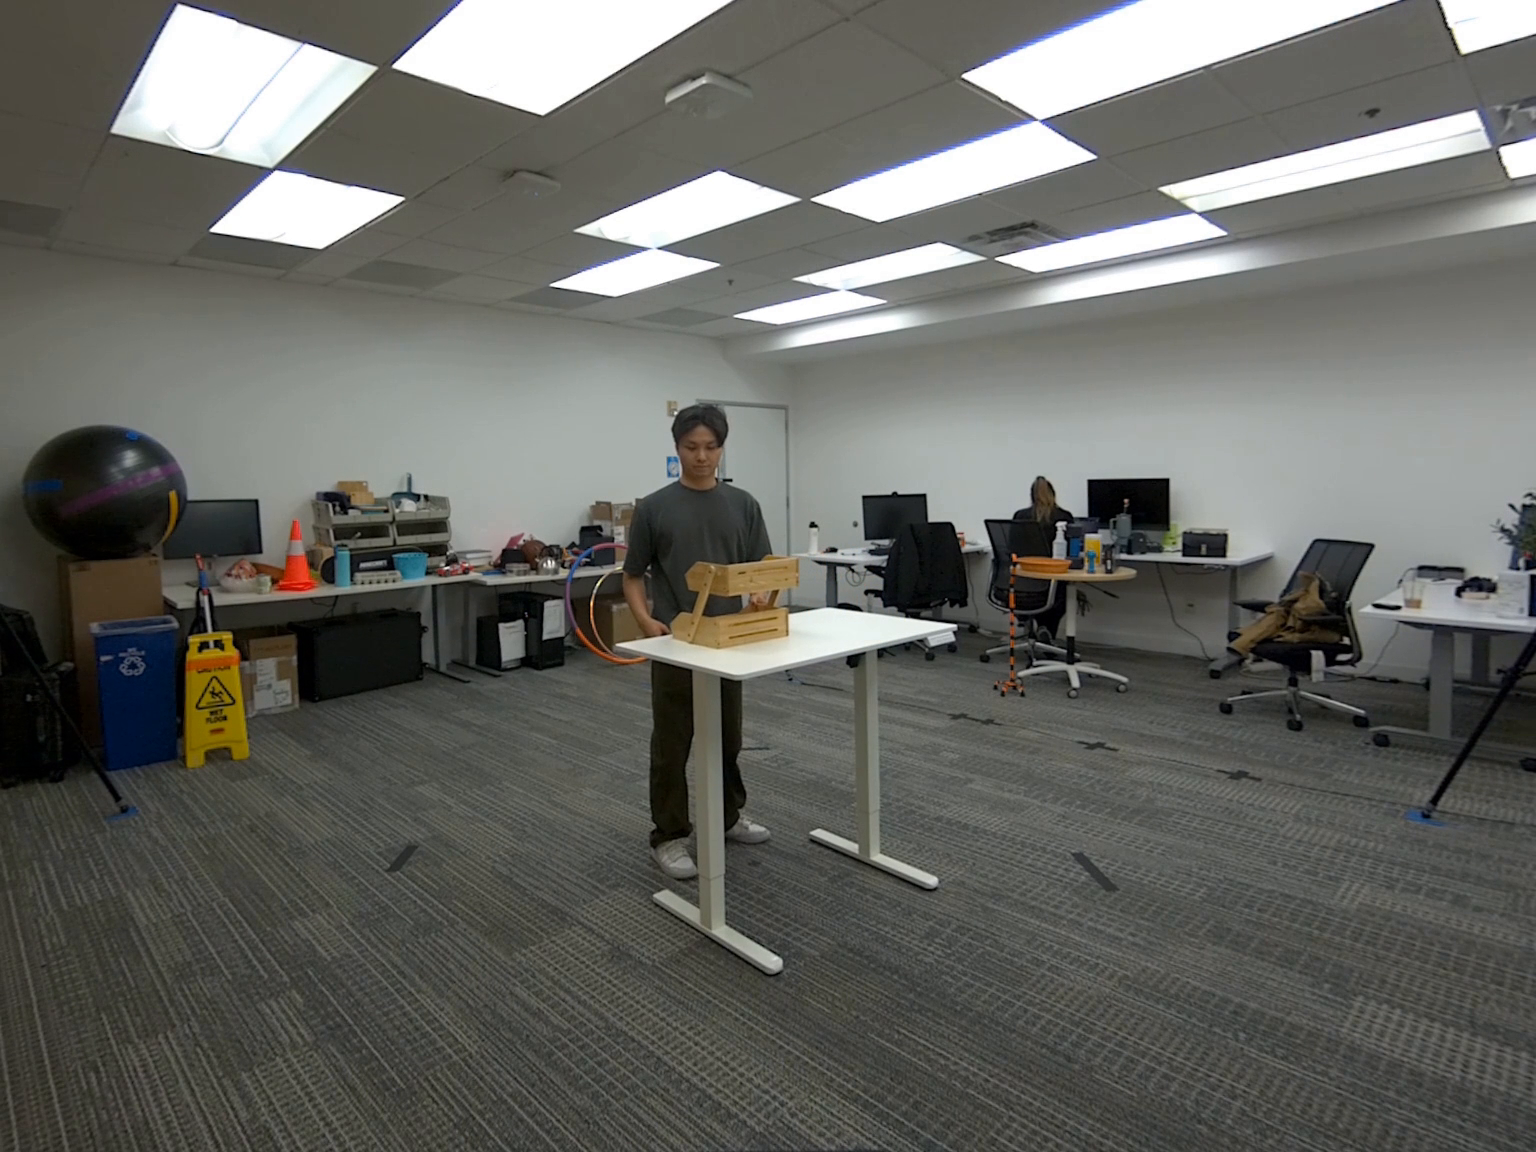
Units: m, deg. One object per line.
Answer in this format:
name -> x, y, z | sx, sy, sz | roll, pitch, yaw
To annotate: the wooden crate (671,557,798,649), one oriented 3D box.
wooden crate -> -0.109, 0.072, 2.771 | 0.316, 0.272, 0.311 | -6, 8, -40
